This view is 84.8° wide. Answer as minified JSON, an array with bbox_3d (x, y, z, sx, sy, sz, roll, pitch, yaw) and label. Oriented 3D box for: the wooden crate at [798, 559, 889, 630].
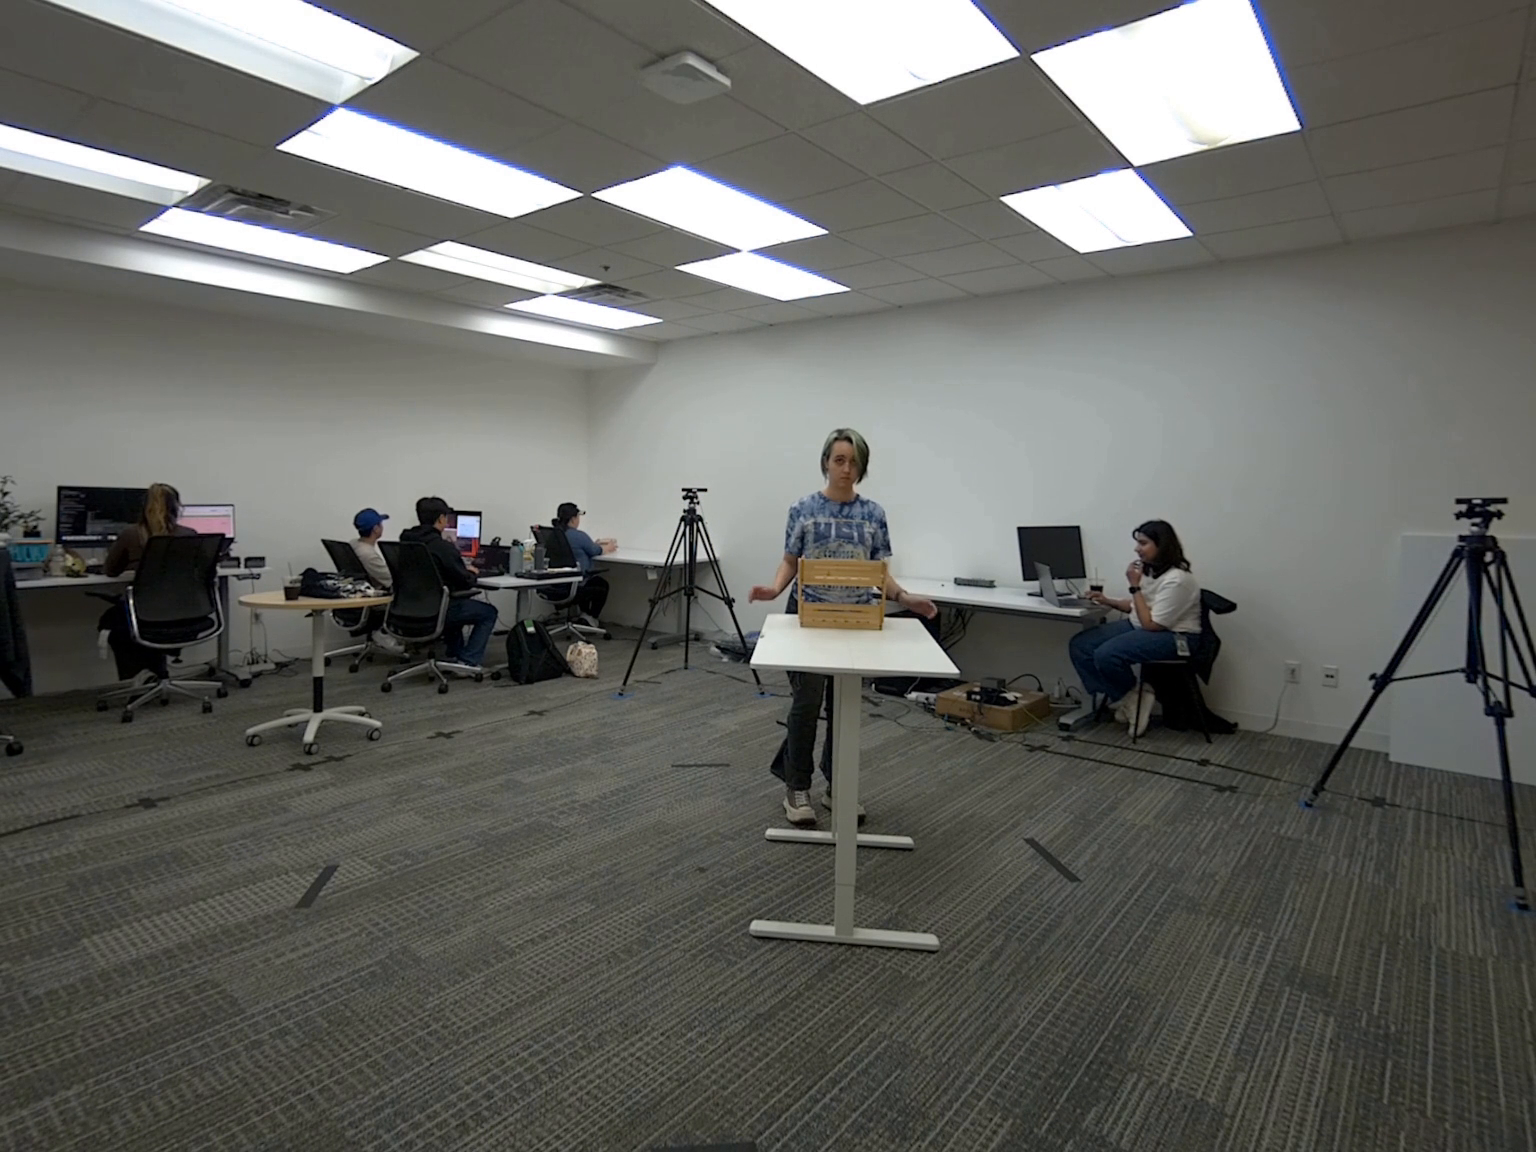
[{"bbox_3d":[0.275,0.048,3.236,0.327,0.272,0.301,2,6,5],"label":"wooden crate"}]
